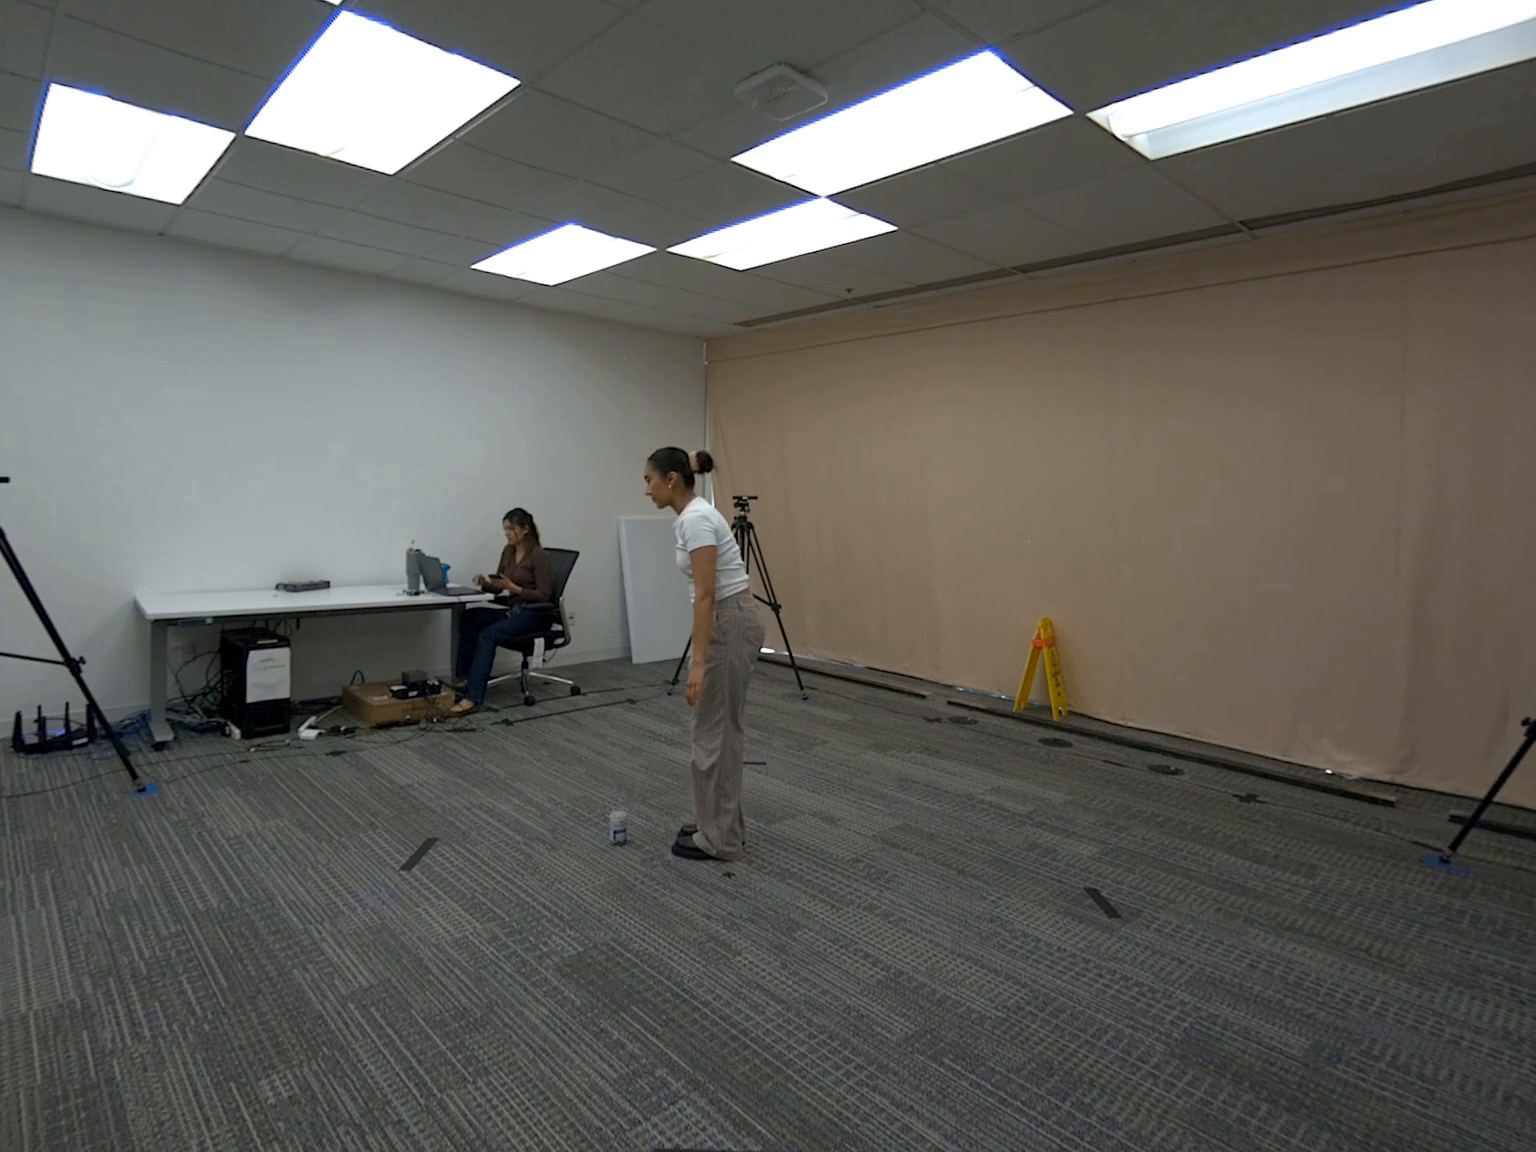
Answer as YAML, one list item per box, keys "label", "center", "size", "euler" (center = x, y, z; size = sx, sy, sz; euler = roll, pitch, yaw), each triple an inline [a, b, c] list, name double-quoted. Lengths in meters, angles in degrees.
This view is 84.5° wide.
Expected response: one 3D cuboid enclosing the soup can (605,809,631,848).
- label: "soup can"
  center: [-0.602, 1.003, 3.359]
  size: [0.067, 0.121, 0.067]
  euler: [-1, 2, -1]
